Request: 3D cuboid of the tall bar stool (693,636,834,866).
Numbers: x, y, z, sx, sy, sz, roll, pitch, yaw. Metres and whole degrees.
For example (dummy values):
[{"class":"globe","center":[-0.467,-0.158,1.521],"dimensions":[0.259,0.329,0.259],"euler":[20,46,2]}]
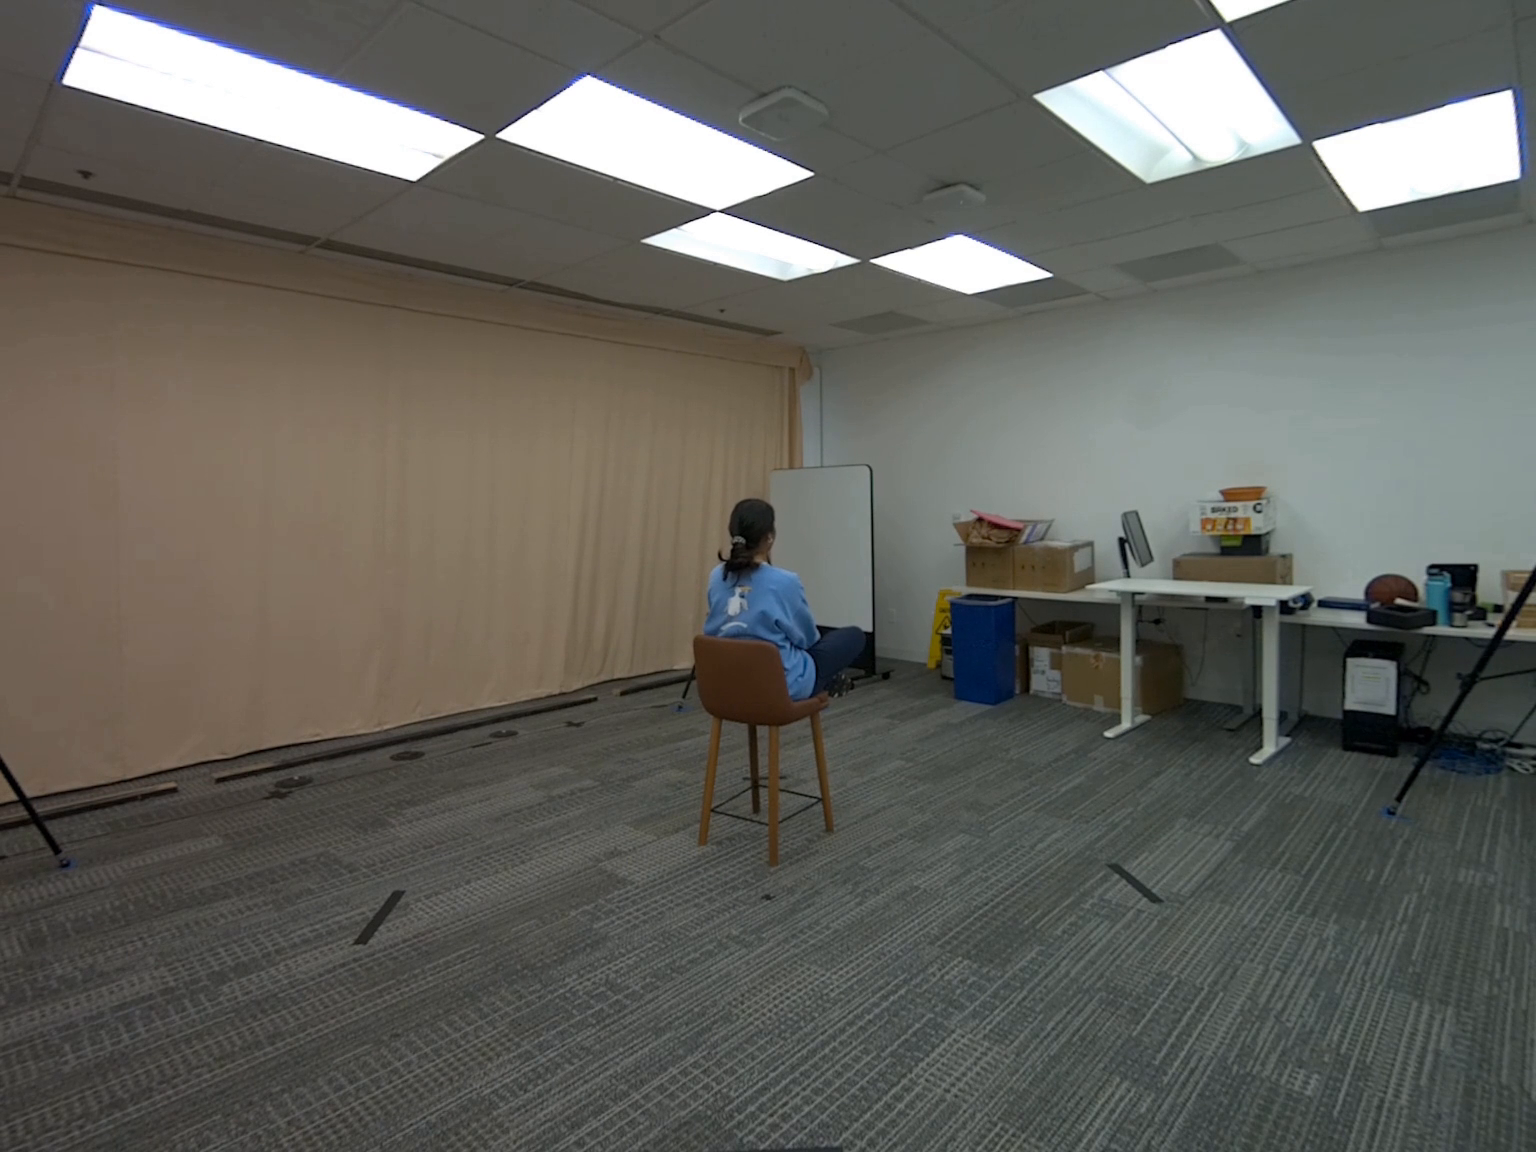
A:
[{"class":"tall bar stool","center":[-0.022,0.661,3.496],"dimensions":[0.471,0.887,0.455],"euler":[1,5,35]}]
